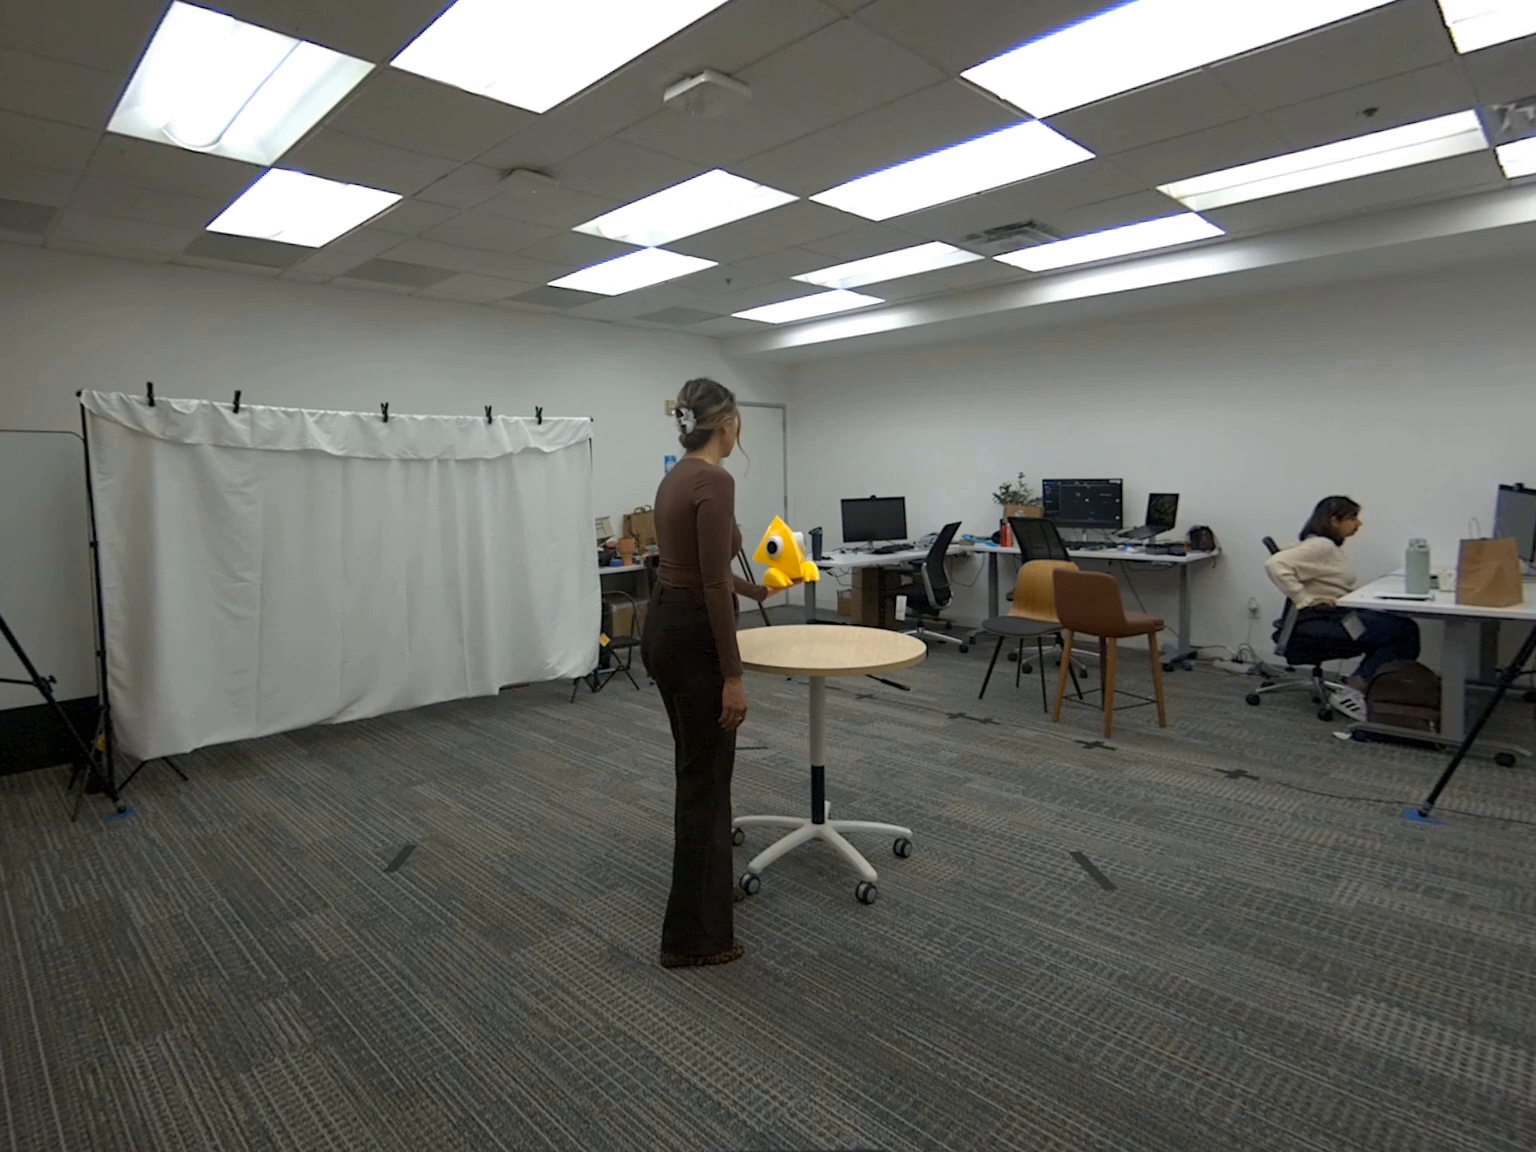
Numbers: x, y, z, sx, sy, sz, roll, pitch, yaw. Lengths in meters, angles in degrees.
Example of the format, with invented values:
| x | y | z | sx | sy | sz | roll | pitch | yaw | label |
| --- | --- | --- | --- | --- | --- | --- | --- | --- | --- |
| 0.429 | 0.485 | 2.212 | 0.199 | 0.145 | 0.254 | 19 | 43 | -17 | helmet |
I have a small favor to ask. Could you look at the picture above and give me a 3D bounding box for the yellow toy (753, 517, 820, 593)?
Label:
| x | y | z | sx | sy | sz | roll | pitch | yaw | label |
| --- | --- | --- | --- | --- | --- | --- | --- | --- | --- |
| 0.074 | -0.098 | 3.049 | 0.201 | 0.229 | 0.198 | -9 | 8 | -23 | yellow toy |
